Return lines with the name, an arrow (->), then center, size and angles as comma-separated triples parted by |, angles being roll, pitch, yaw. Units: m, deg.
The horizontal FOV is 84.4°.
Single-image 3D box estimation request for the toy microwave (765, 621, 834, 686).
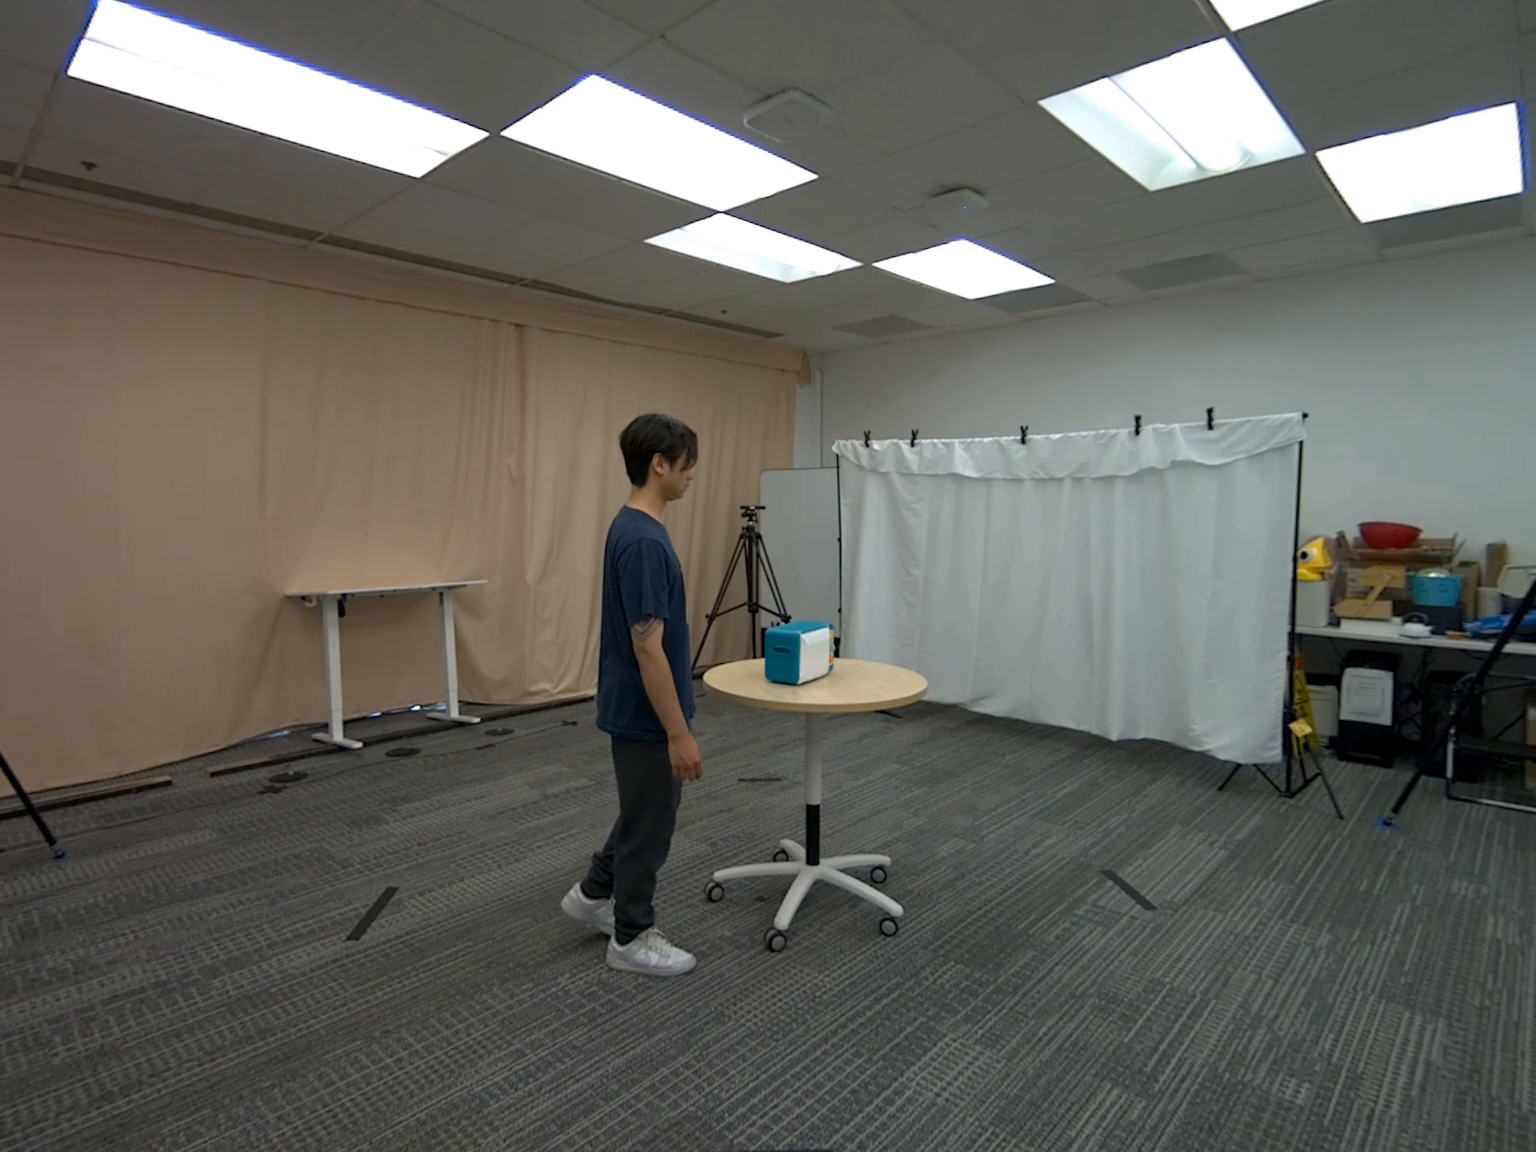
toy microwave -> 0.119, 0.261, 2.894 | 0.157, 0.184, 0.278 | 3, 5, 32
